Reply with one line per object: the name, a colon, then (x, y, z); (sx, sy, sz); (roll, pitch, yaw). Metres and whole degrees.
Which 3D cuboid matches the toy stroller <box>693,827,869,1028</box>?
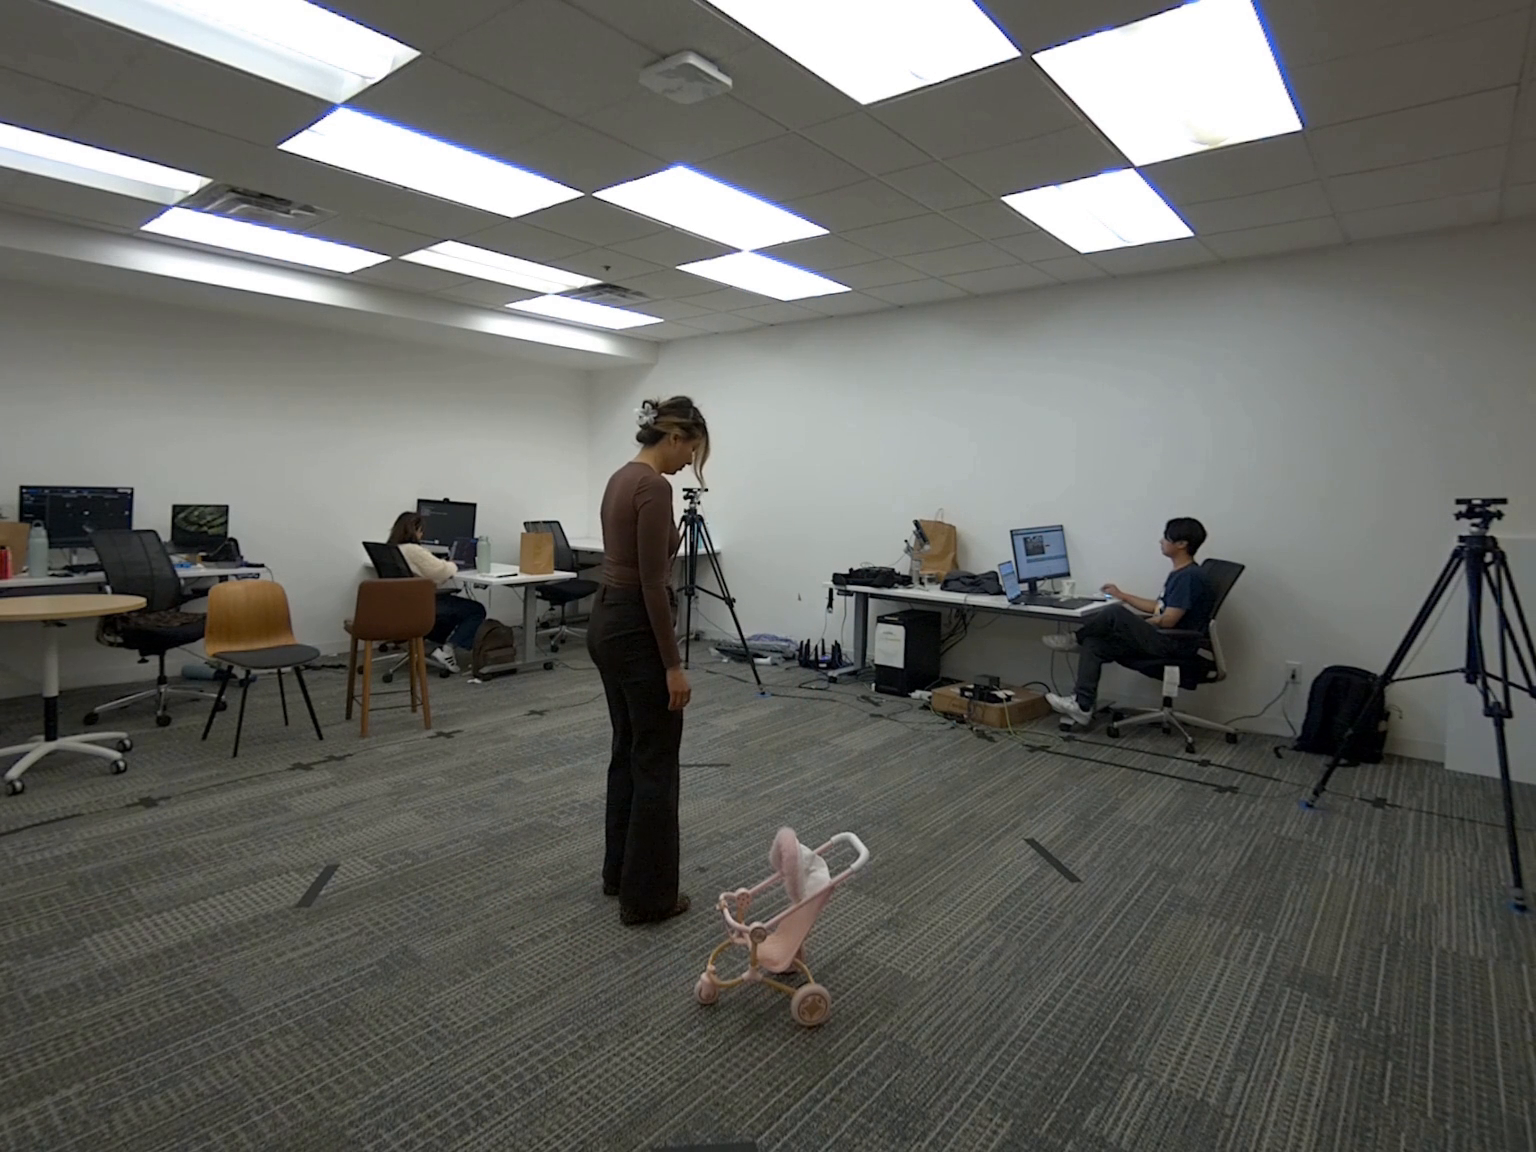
toy stroller: (0.017, 0.927, 2.316); (0.339, 0.534, 0.284); (18, 1, -7)
